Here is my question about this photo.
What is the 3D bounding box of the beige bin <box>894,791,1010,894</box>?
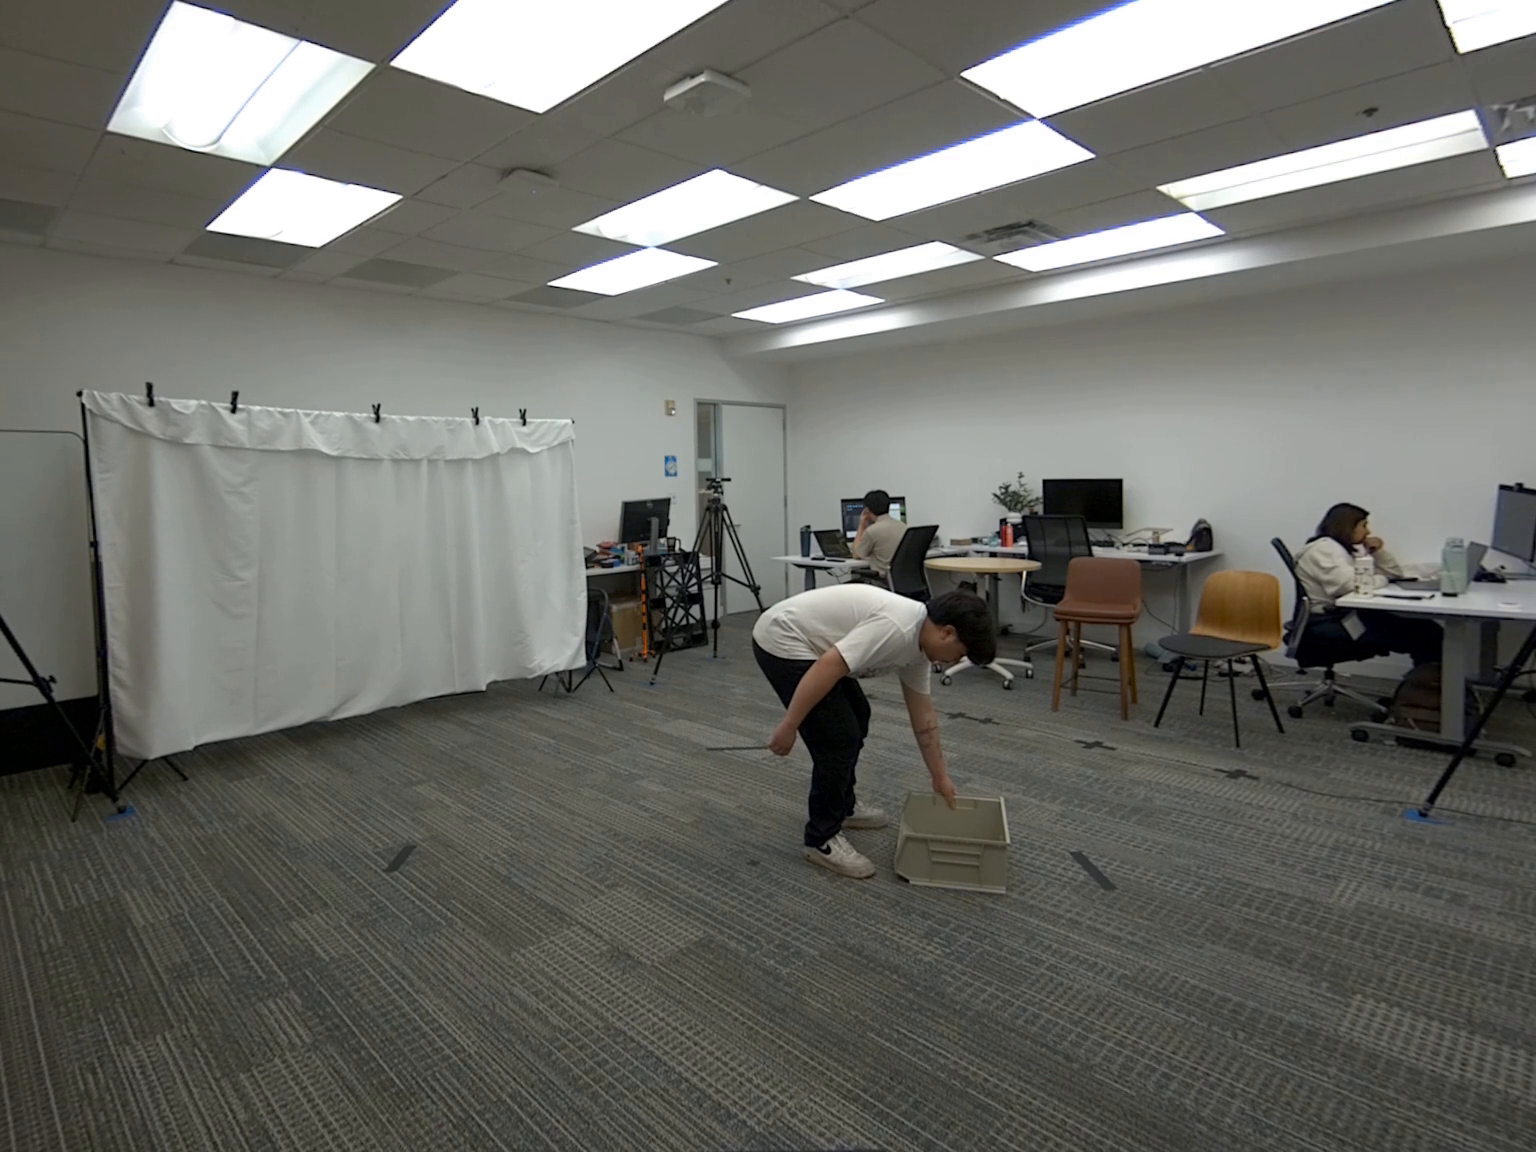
[{"bbox_3d":[0.660,0.944,3.074,0.383,0.188,0.418,1,6,13],"label":"beige bin"}]
